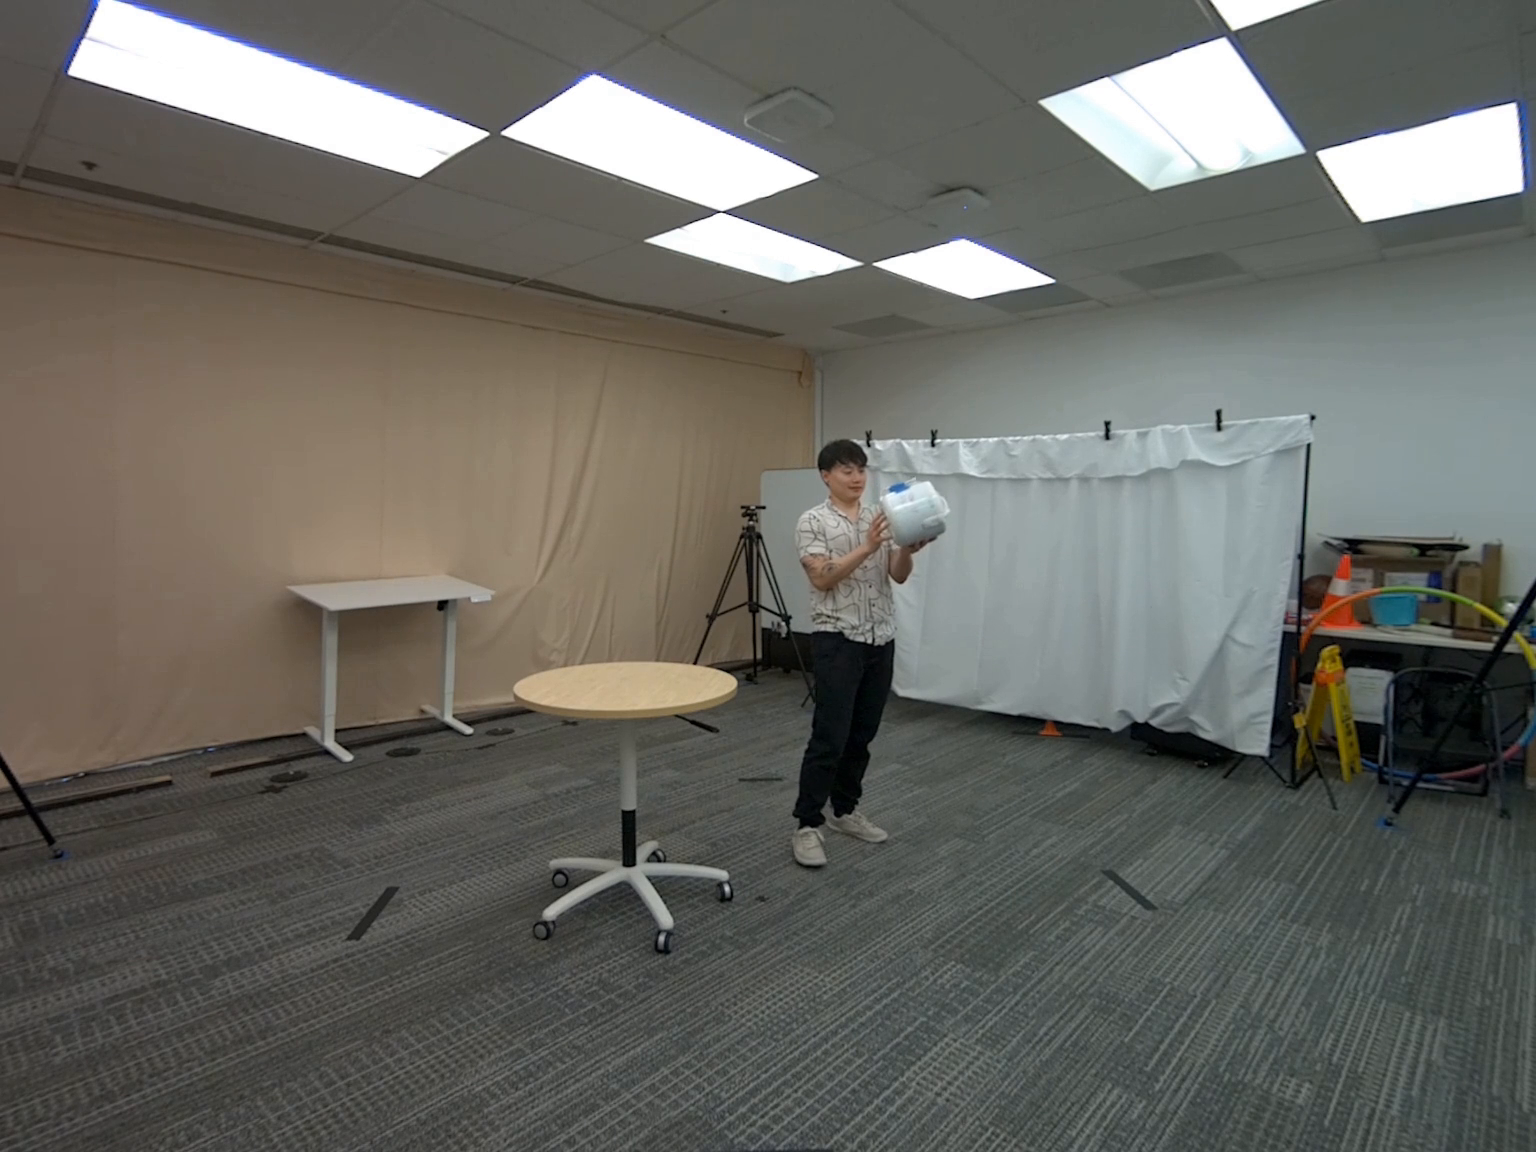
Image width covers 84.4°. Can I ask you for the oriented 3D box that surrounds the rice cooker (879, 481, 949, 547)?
[{"bbox_3d":[0.565,-0.238,3.183,0.234,0.212,0.225,-20,28,5],"label":"rice cooker"}]
